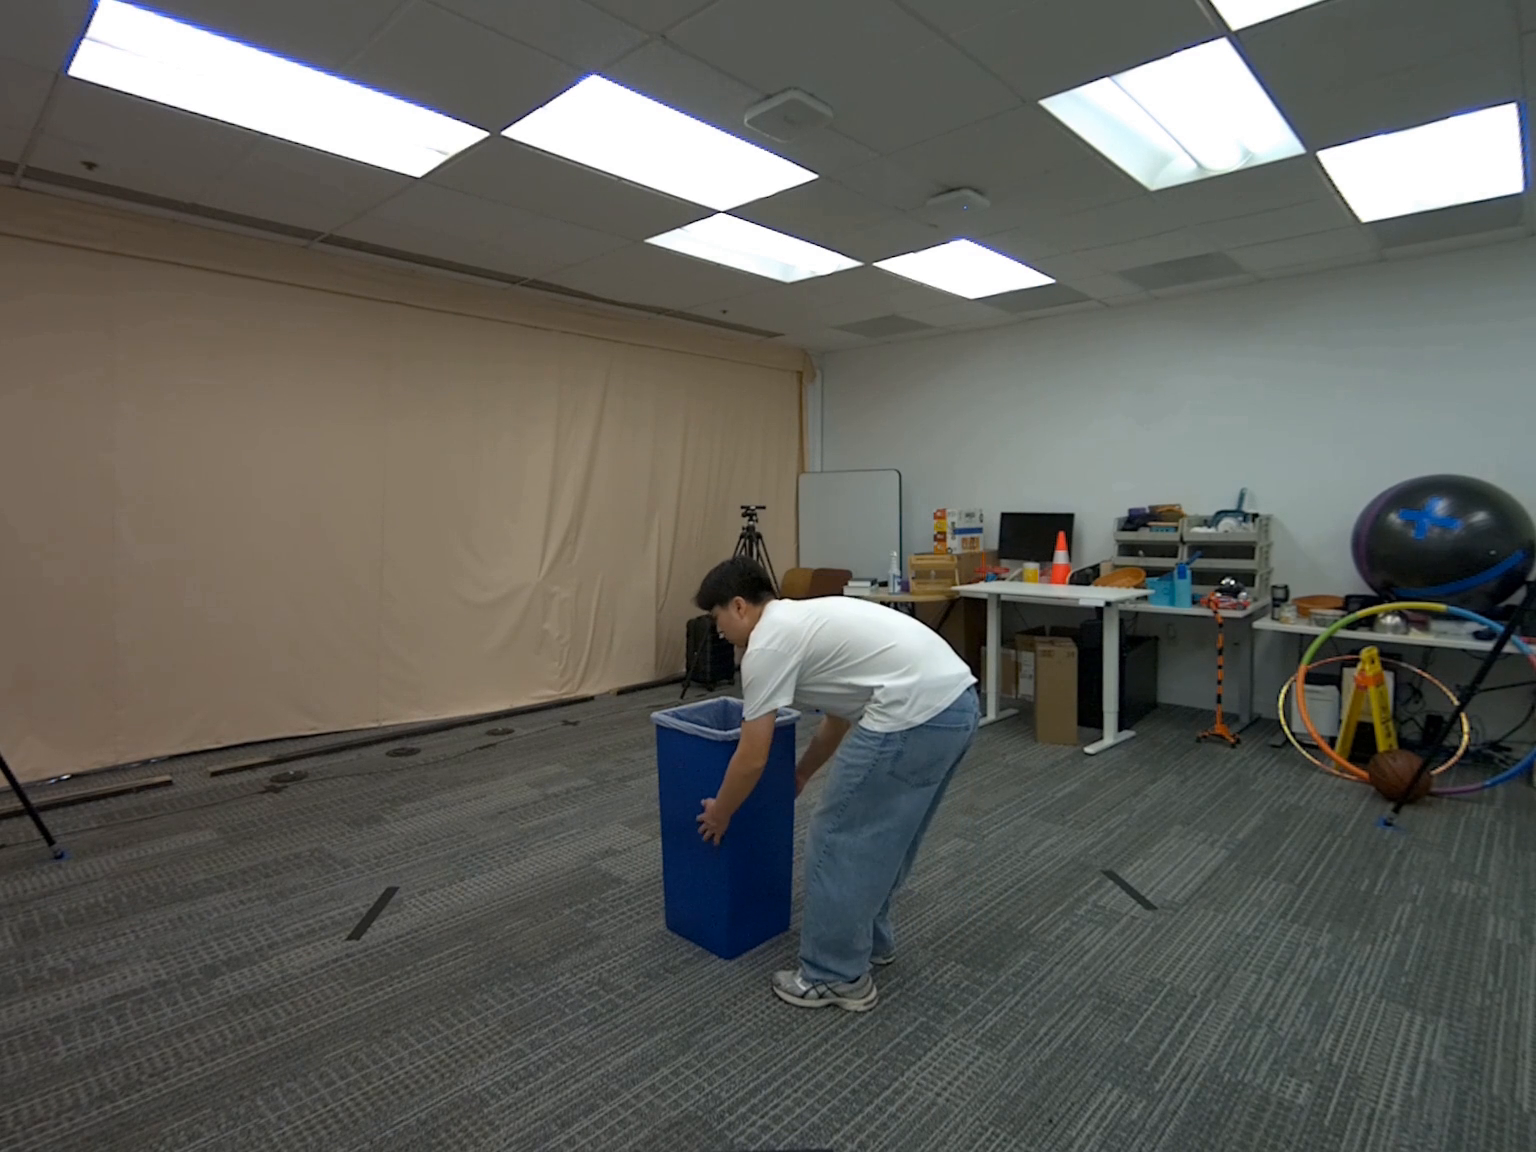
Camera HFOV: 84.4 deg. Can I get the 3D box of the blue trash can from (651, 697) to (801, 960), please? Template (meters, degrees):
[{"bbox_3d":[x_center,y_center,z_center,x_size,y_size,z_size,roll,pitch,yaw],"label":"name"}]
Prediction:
[{"bbox_3d":[-0.142,0.802,2.767,0.386,0.712,0.366,2,4,43],"label":"blue trash can"}]
